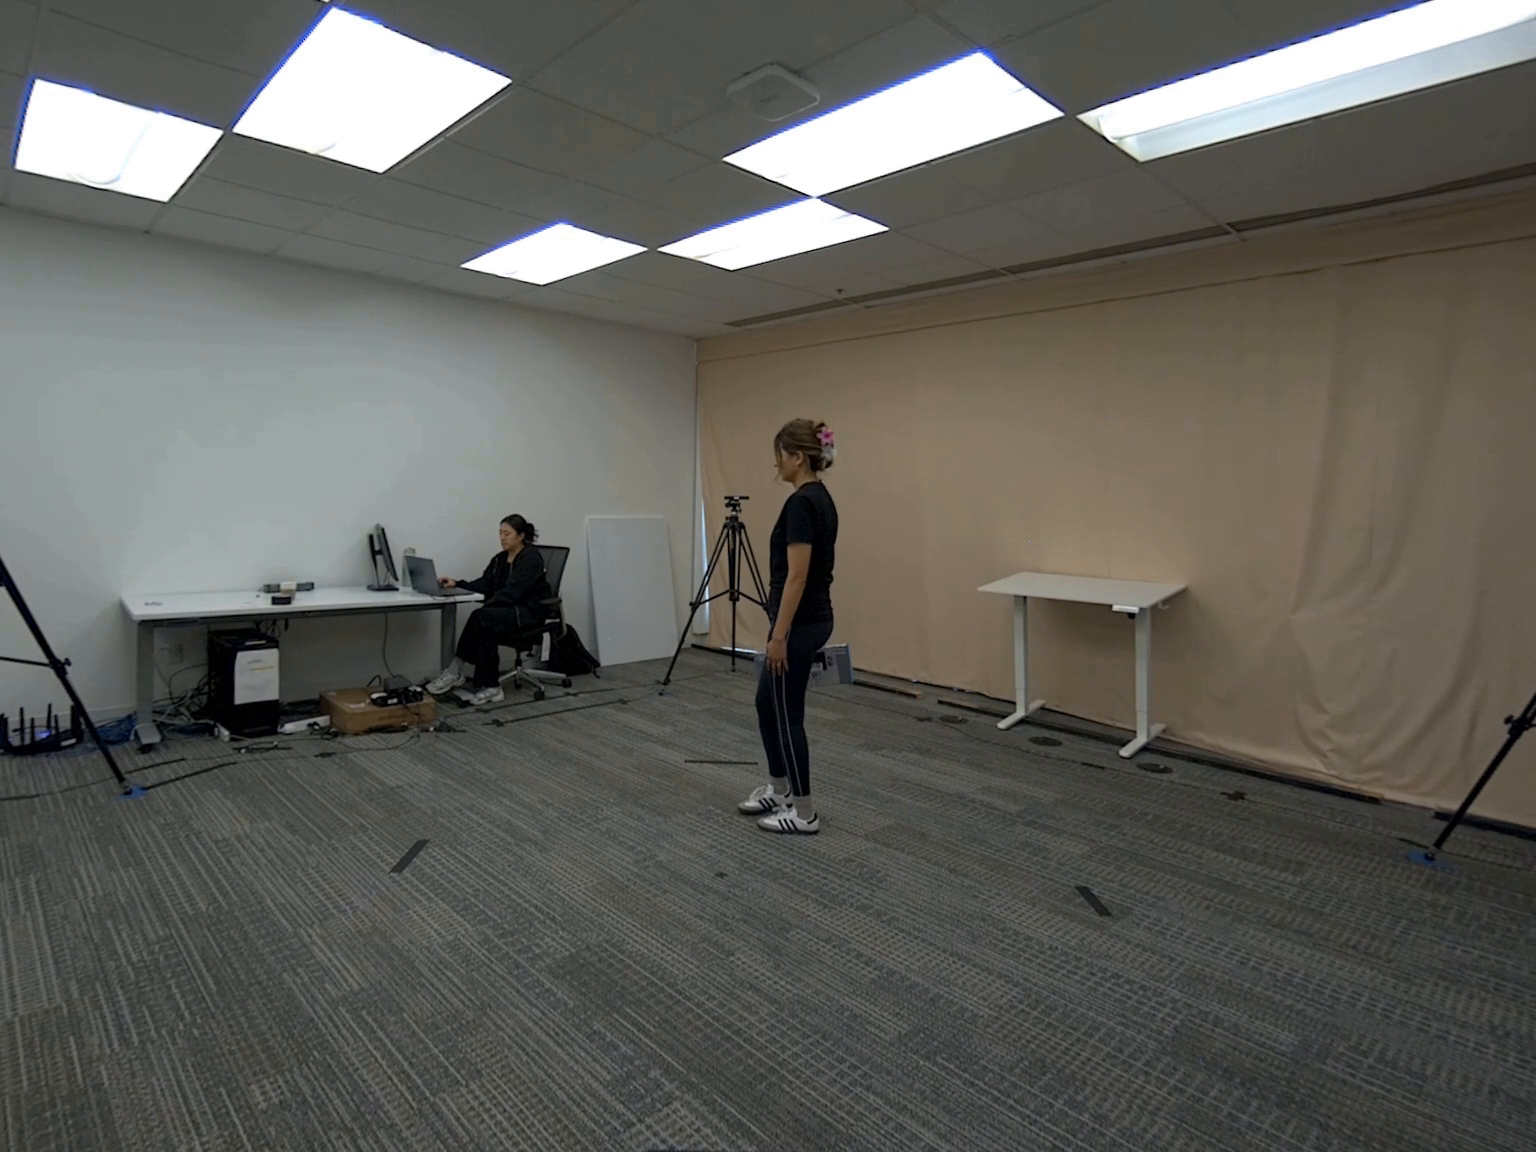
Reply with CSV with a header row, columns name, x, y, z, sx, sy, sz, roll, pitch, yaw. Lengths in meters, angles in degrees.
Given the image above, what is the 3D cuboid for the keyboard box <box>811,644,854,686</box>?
name,x,y,z,sx,sy,sz,roll,pitch,yaw
keyboard box,0.154,0.416,3.844,0.442,0.175,0.058,-6,4,16
